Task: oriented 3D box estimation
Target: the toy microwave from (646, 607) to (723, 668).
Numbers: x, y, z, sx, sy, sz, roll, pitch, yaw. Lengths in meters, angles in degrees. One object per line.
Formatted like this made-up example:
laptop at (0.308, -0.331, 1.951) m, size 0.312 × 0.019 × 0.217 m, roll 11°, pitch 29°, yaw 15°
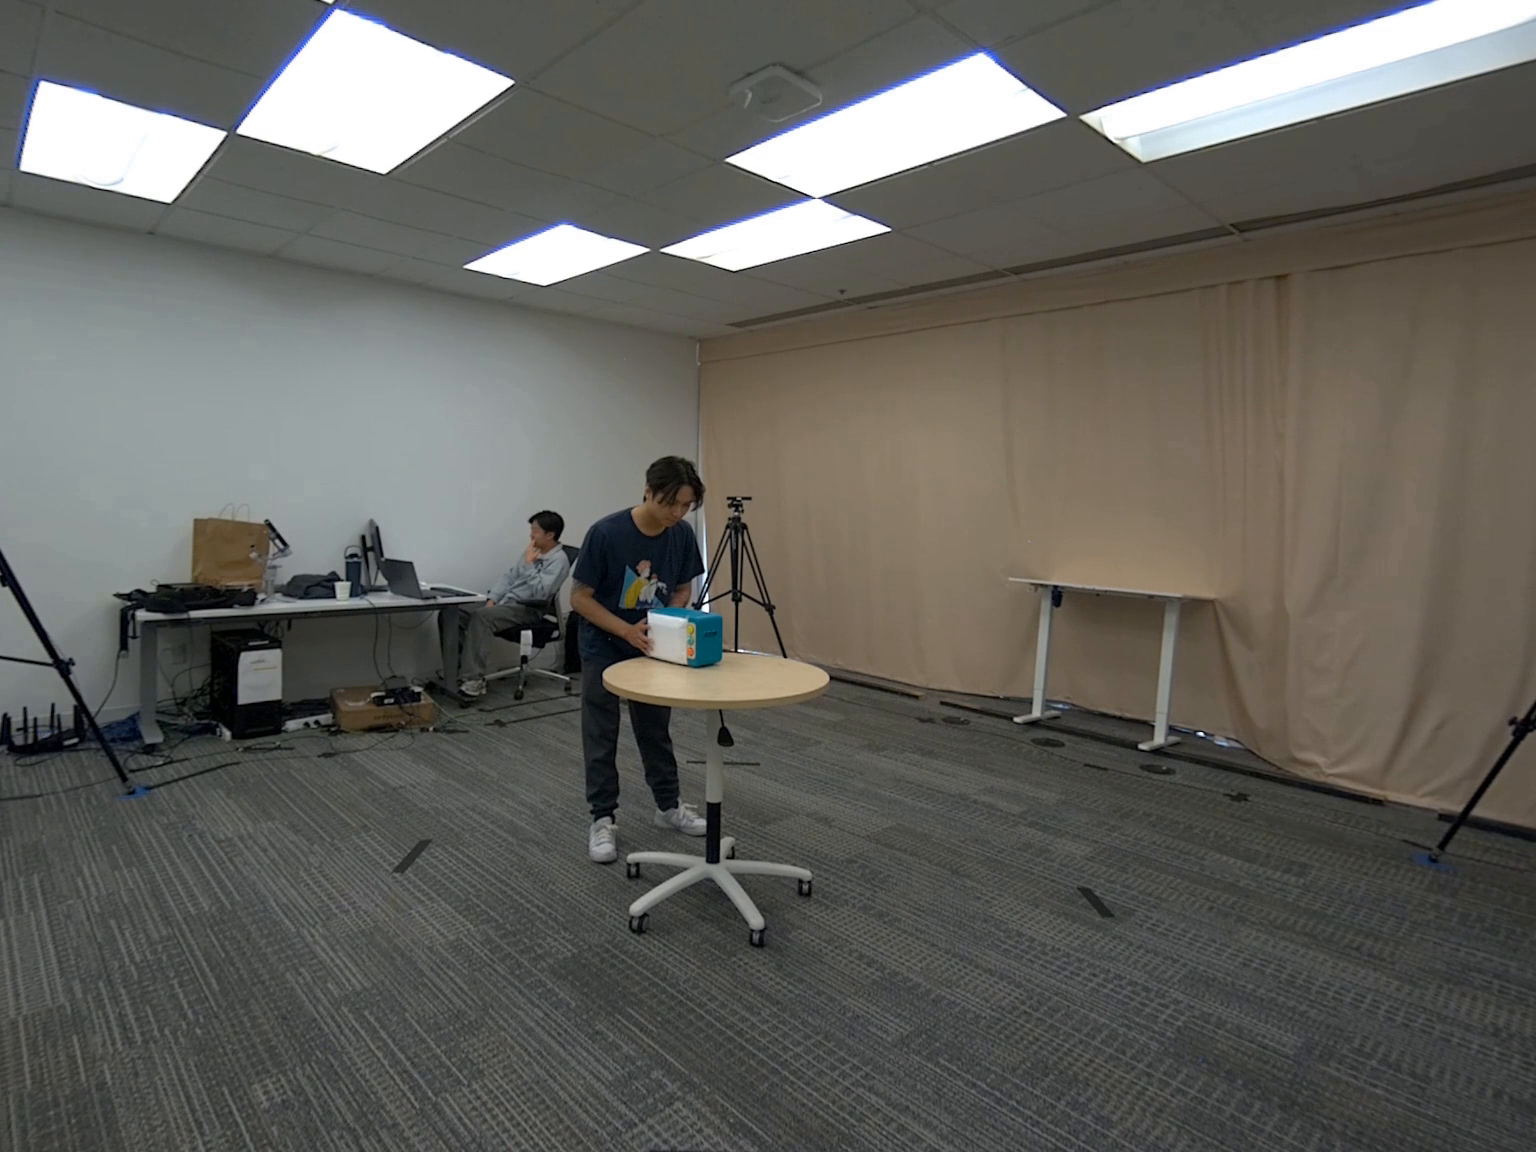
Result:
toy microwave at (-0.317, 0.222, 3.044) m, size 0.293 × 0.183 × 0.149 m, roll 5°, pitch 6°, yaw 42°
